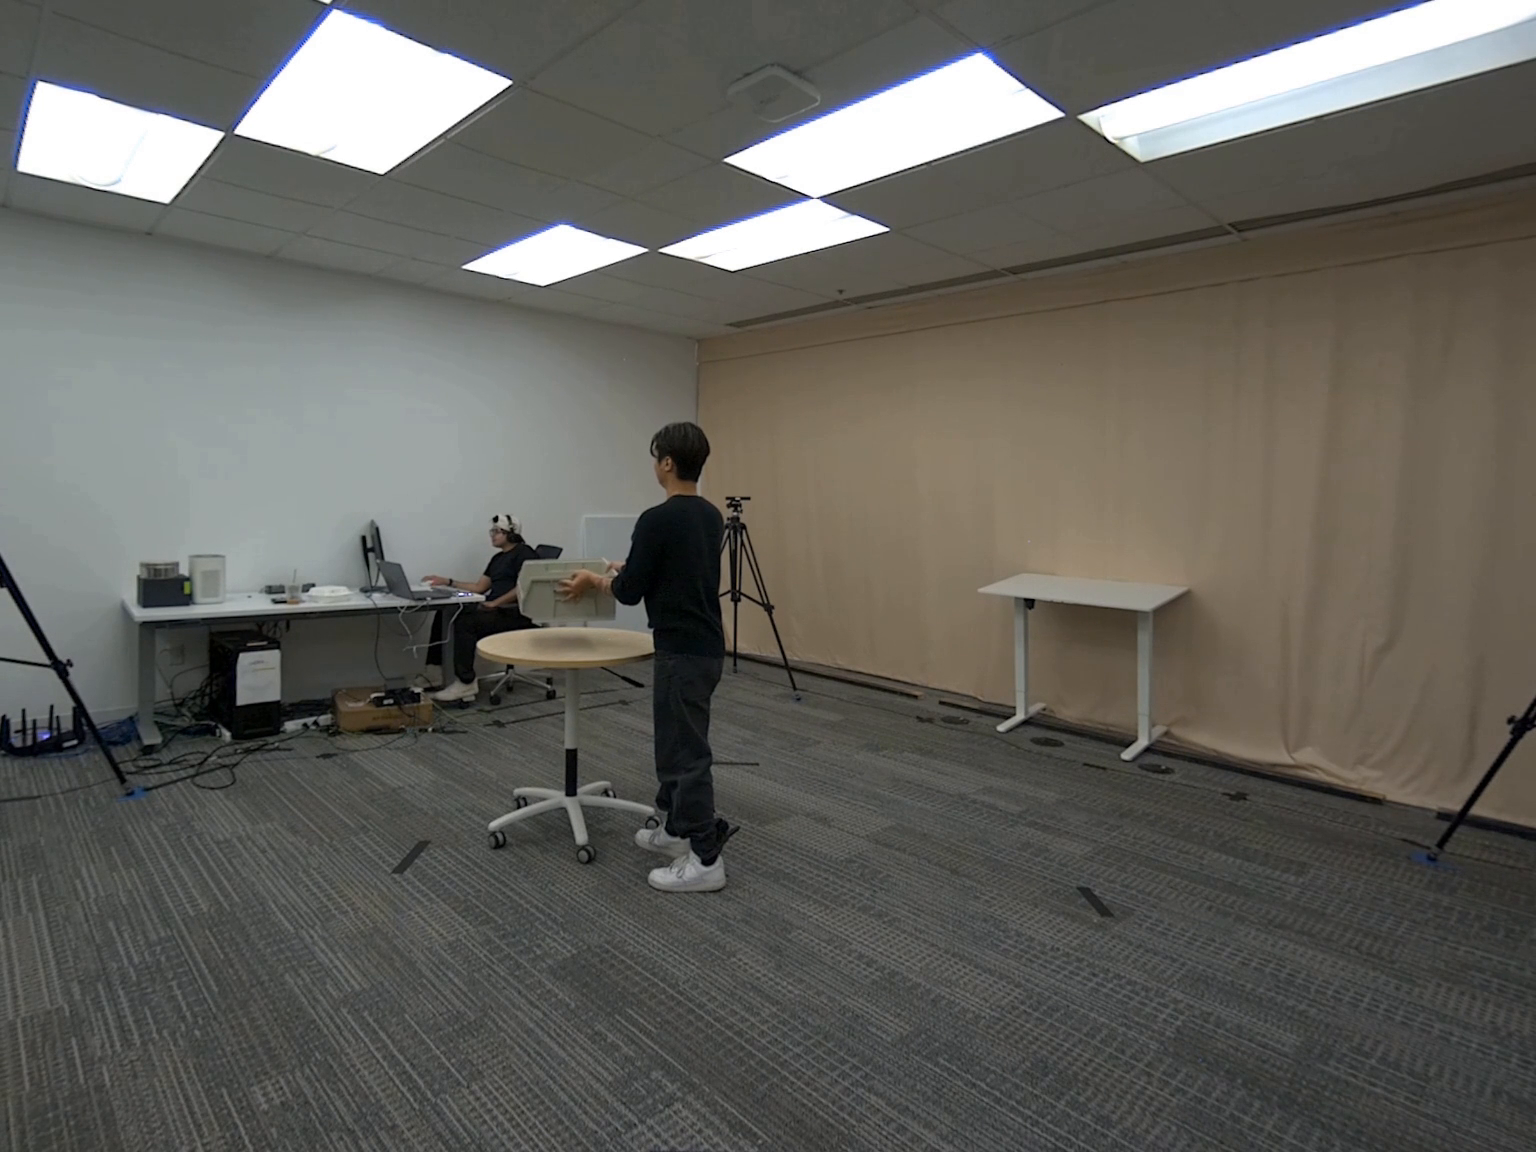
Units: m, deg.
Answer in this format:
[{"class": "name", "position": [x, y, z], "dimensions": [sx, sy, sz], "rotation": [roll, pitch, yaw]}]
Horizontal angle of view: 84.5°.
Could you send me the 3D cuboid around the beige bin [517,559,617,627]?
[{"class": "beige bin", "position": [-0.855, 0.051, 3.484], "dimensions": [0.373, 0.188, 0.429], "rotation": [1, 9, -13]}]
